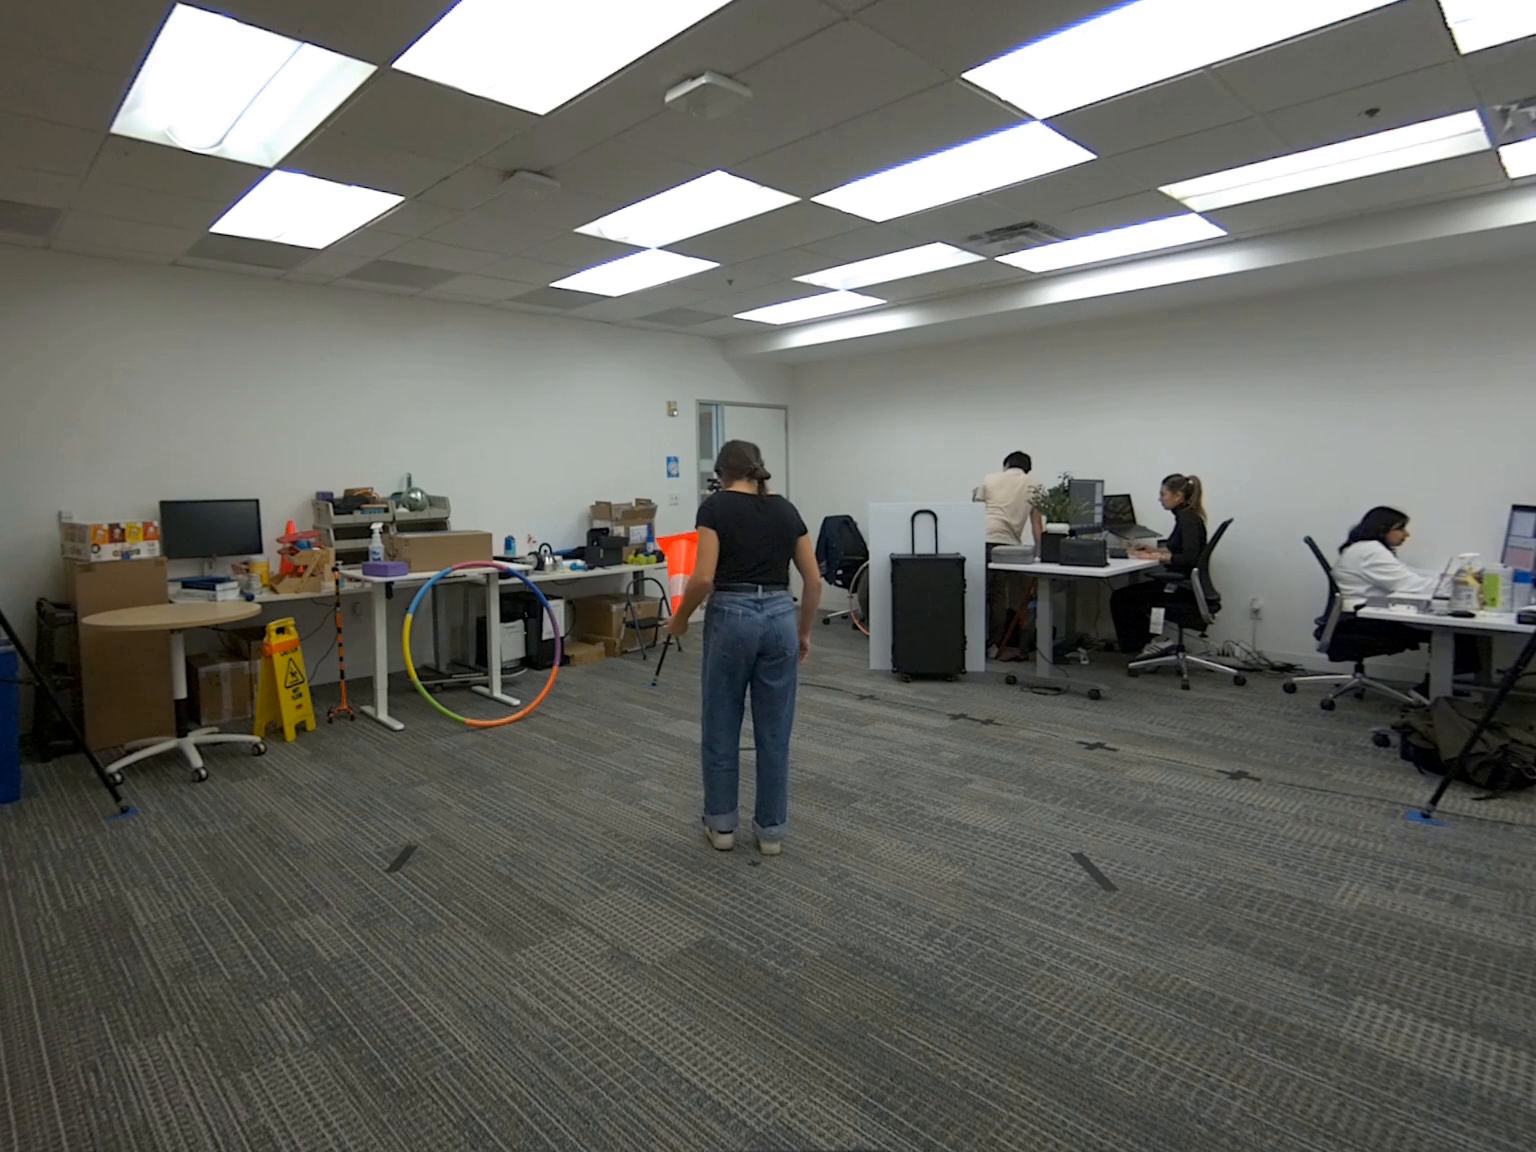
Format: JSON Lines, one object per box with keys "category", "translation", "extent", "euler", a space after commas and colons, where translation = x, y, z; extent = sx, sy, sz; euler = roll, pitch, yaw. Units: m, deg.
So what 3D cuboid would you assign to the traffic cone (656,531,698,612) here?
{"category": "traffic cone", "translation": [-0.338, 0.062, 3.407], "extent": [0.206, 0.393, 0.197], "euler": [-13, -39, 22]}
